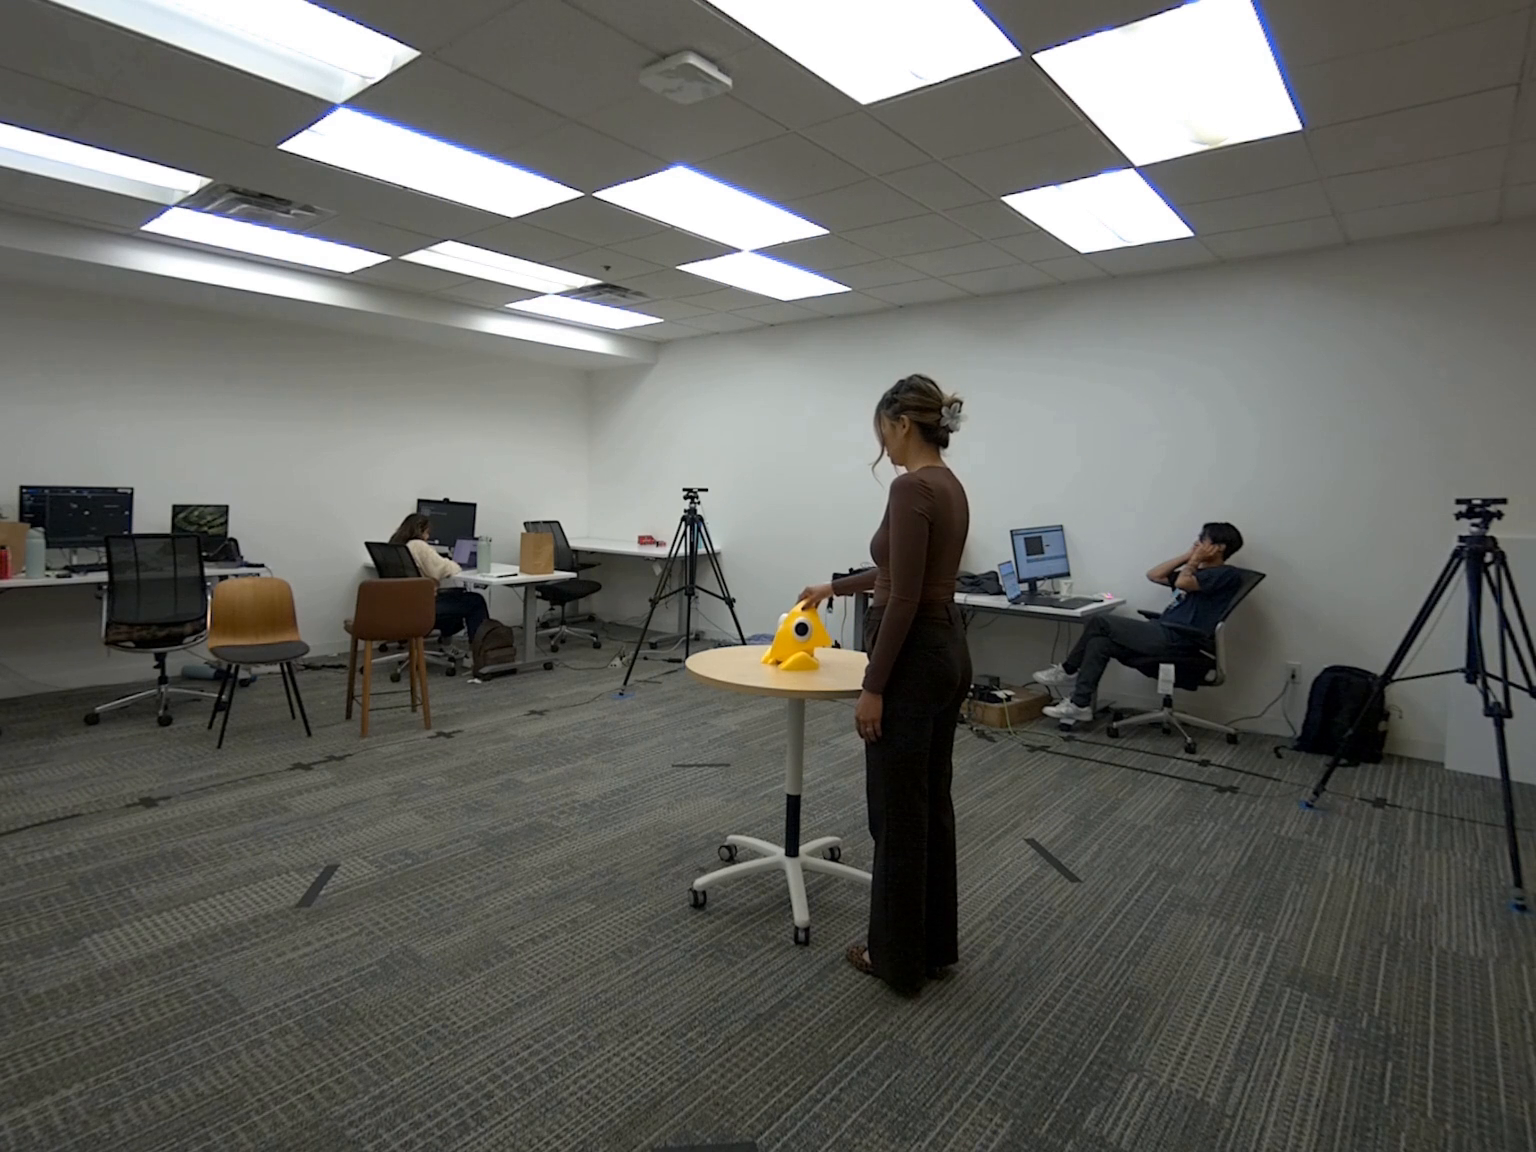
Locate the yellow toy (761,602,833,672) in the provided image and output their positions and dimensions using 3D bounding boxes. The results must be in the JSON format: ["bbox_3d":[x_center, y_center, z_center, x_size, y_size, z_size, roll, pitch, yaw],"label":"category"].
[{"bbox_3d":[0.081,0.185,2.895,0.188,0.230,0.211,0,5,-29],"label":"yellow toy"}]
